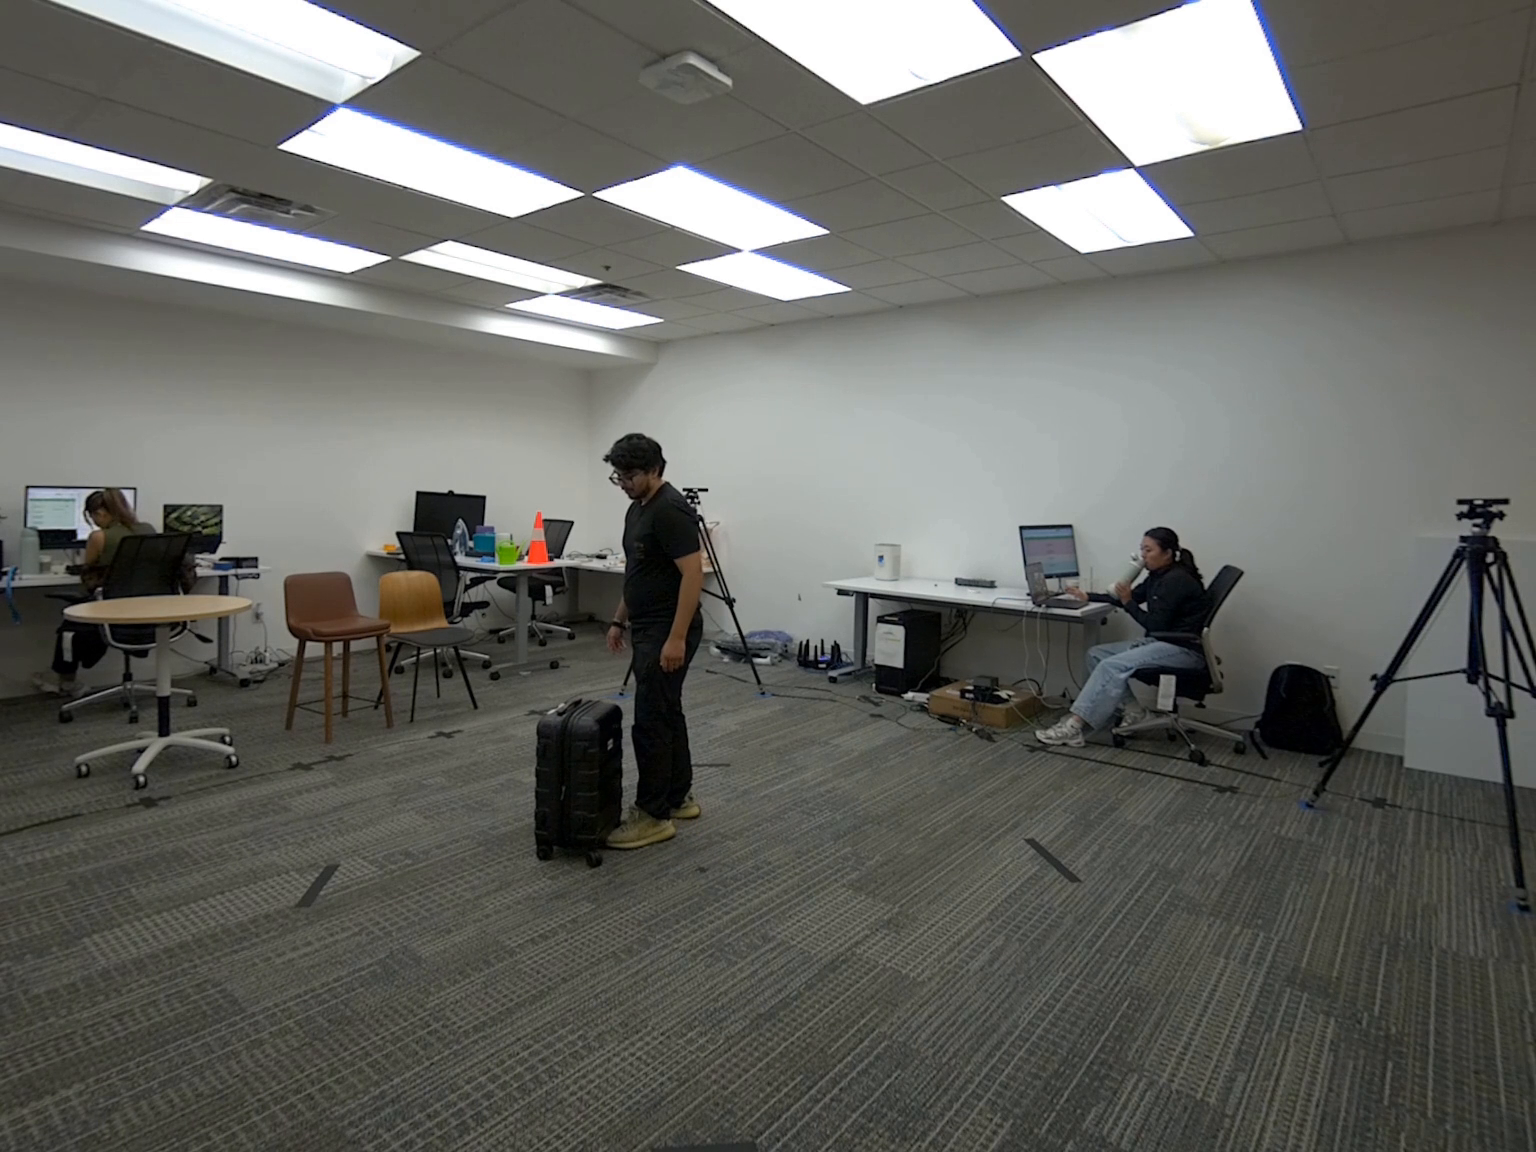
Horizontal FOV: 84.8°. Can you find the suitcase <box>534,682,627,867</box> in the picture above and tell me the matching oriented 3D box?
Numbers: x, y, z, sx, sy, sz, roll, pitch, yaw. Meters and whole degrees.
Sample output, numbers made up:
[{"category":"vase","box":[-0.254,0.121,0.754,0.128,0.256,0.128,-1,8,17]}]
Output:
[{"category":"suitcase","box":[-0.733,0.765,3.284,0.251,0.548,0.371,1,2,10]}]
